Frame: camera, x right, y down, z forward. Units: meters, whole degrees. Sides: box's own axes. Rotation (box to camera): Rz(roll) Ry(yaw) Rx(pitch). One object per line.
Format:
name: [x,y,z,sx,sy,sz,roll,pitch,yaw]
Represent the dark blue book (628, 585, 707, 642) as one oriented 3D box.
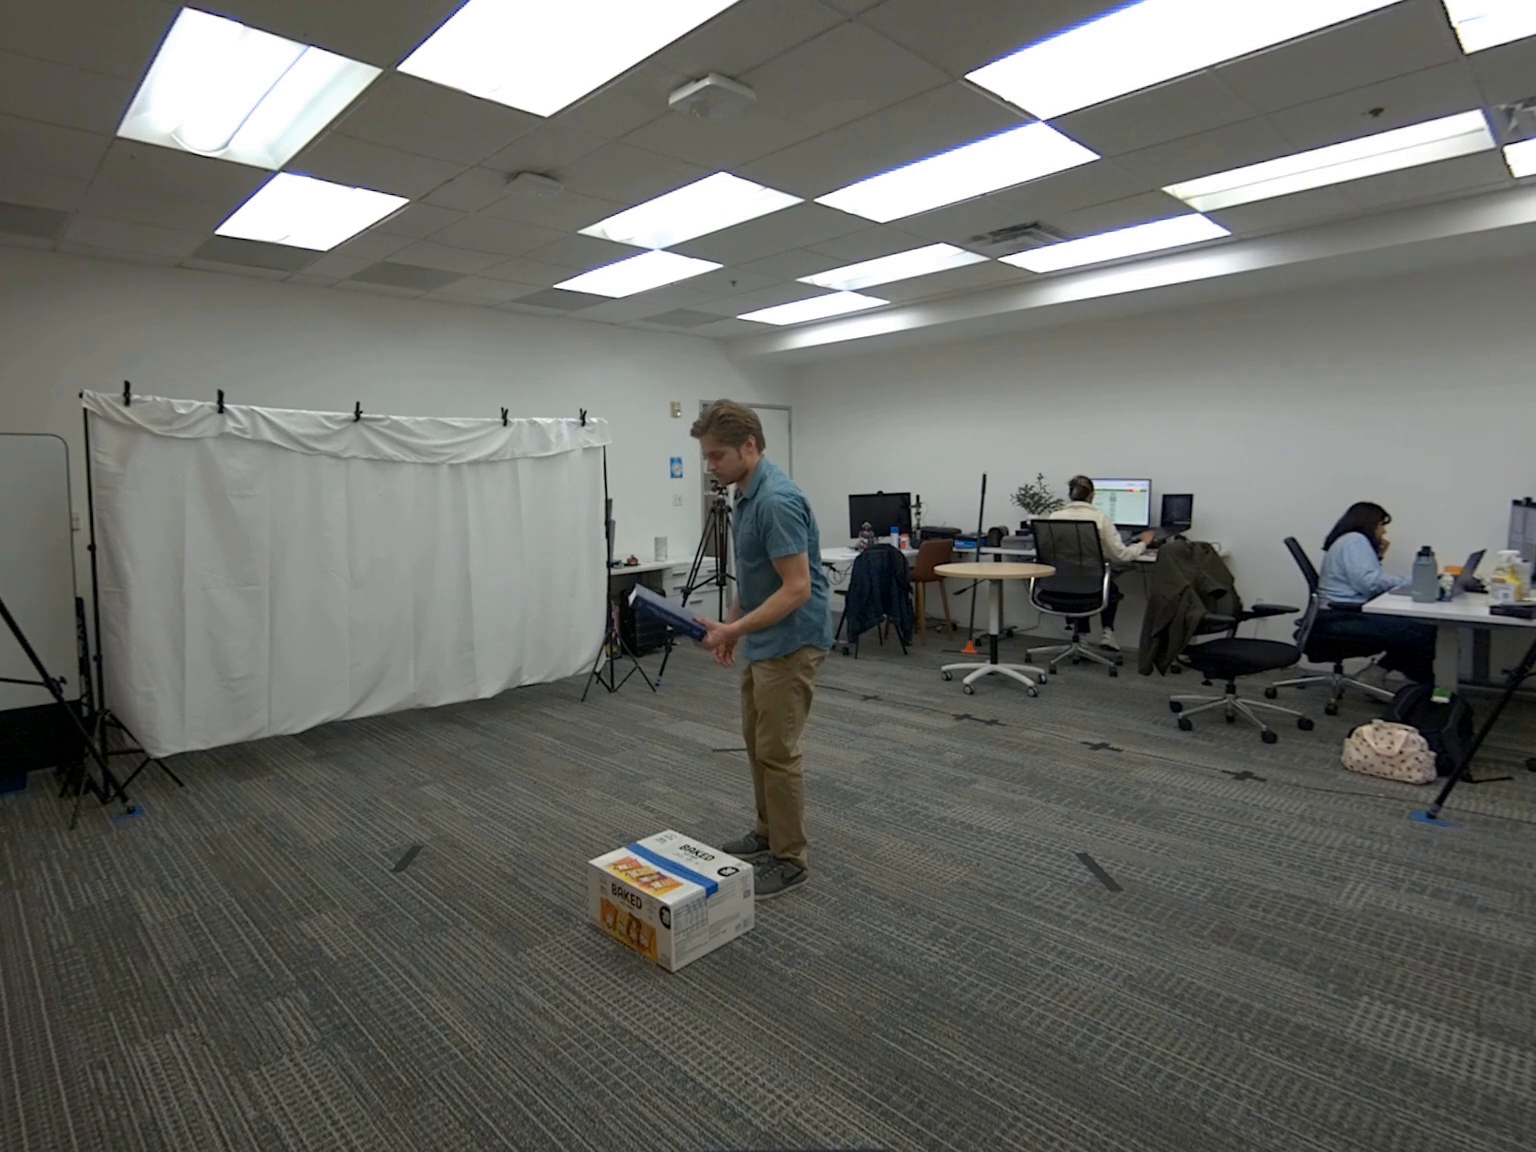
dark blue book: [-0.302,0.118,2.641,0.242,0.045,0.165,27,5,-10]
